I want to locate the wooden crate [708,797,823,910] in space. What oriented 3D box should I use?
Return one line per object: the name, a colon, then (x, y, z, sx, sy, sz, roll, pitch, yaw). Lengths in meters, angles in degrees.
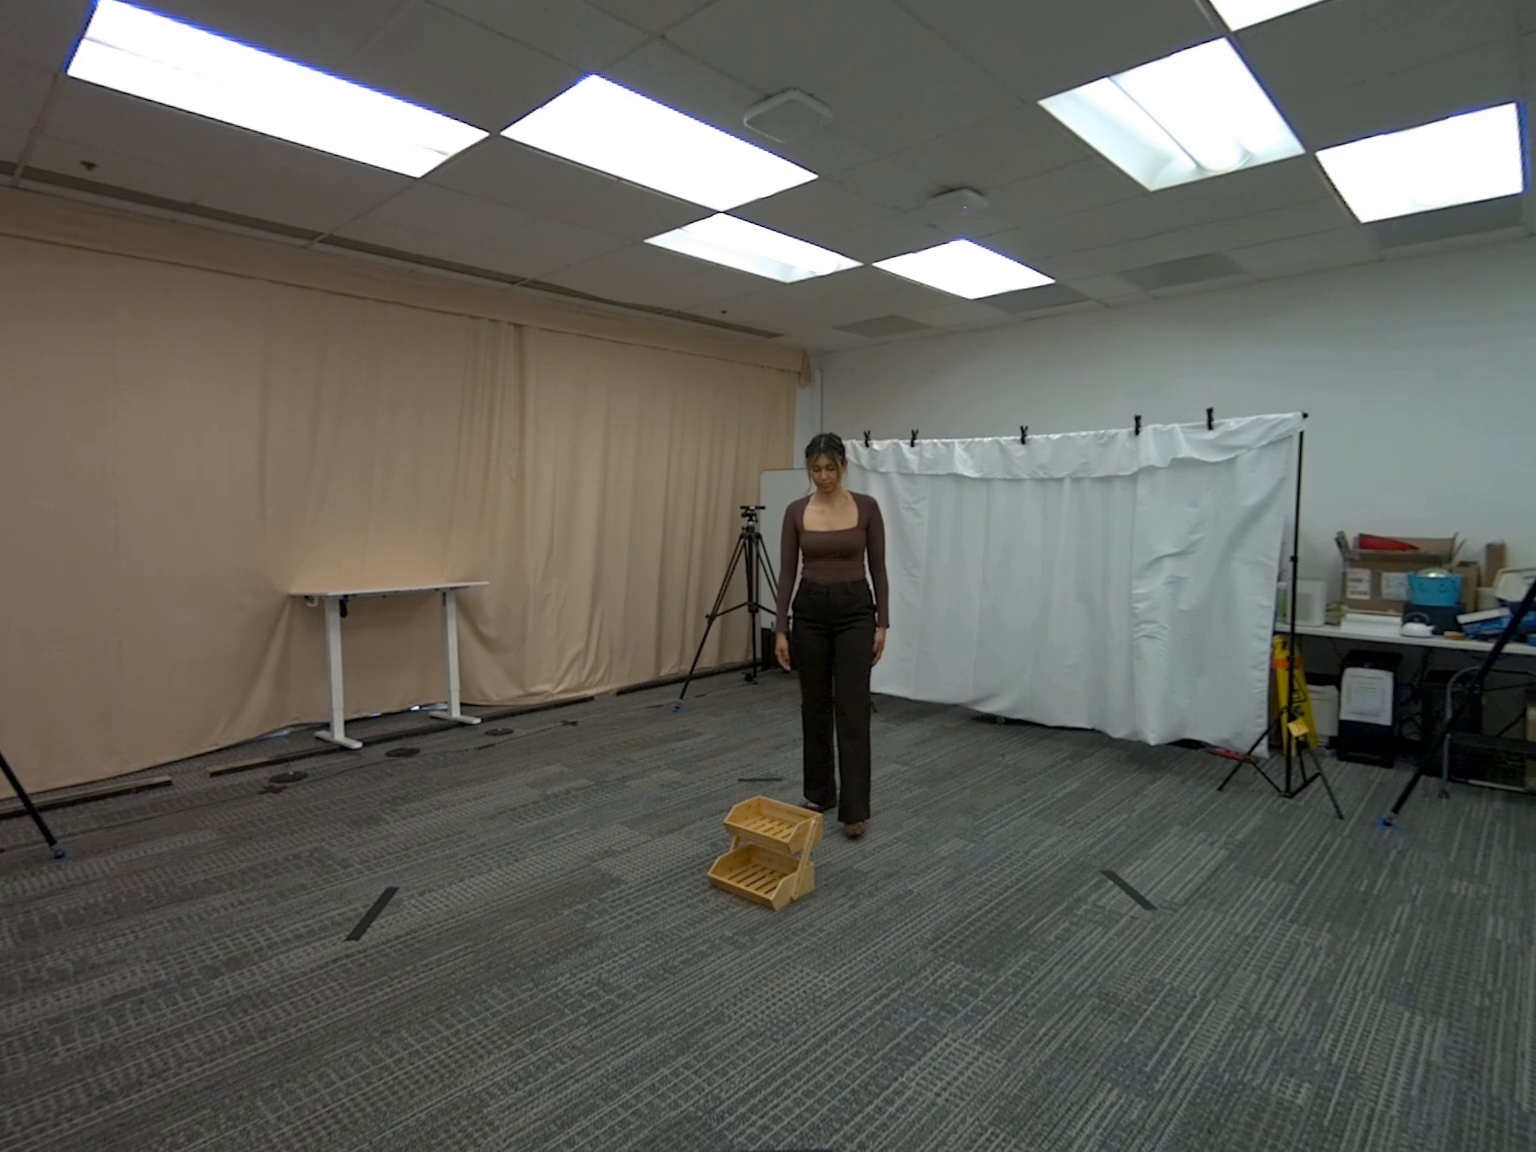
wooden crate: (-0.009, 1.001, 3.082, 0.335, 0.273, 0.293, 3, 5, 40)
